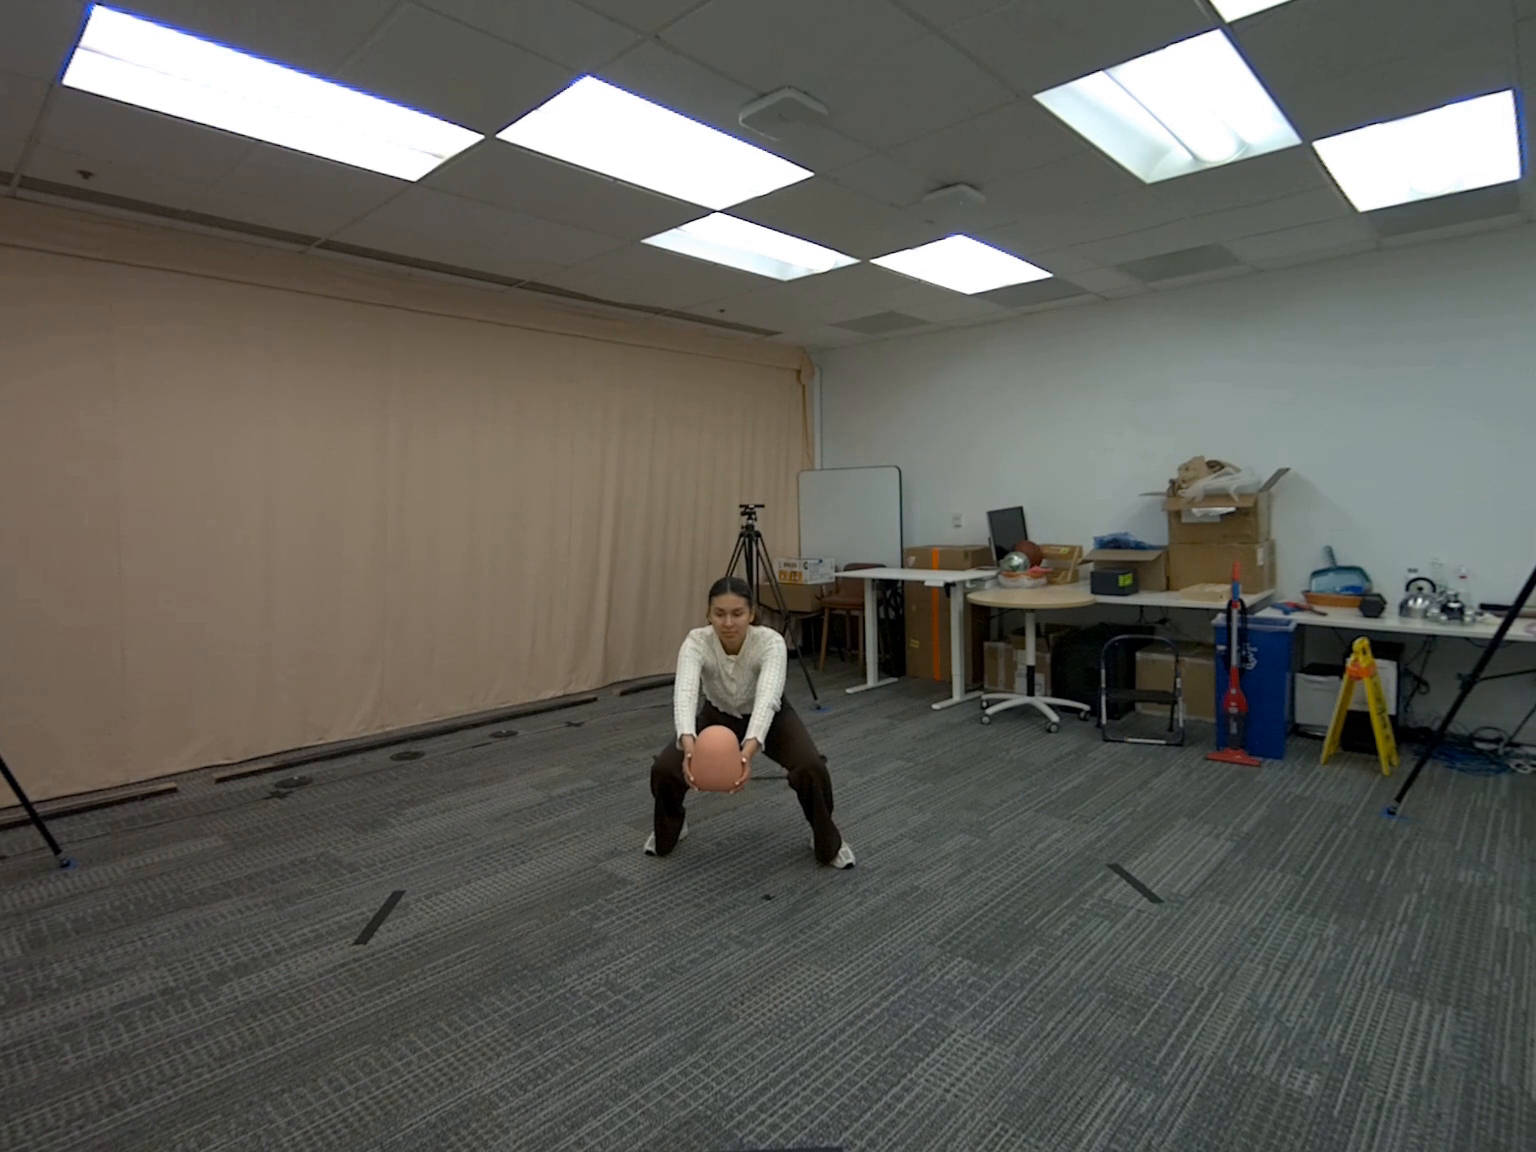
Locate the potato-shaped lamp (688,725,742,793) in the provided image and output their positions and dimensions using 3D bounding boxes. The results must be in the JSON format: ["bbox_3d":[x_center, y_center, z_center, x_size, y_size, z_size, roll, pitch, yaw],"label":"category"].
[{"bbox_3d":[-0.156,0.557,2.621,0.168,0.198,0.168,1,2,-22],"label":"potato-shaped lamp"}]
